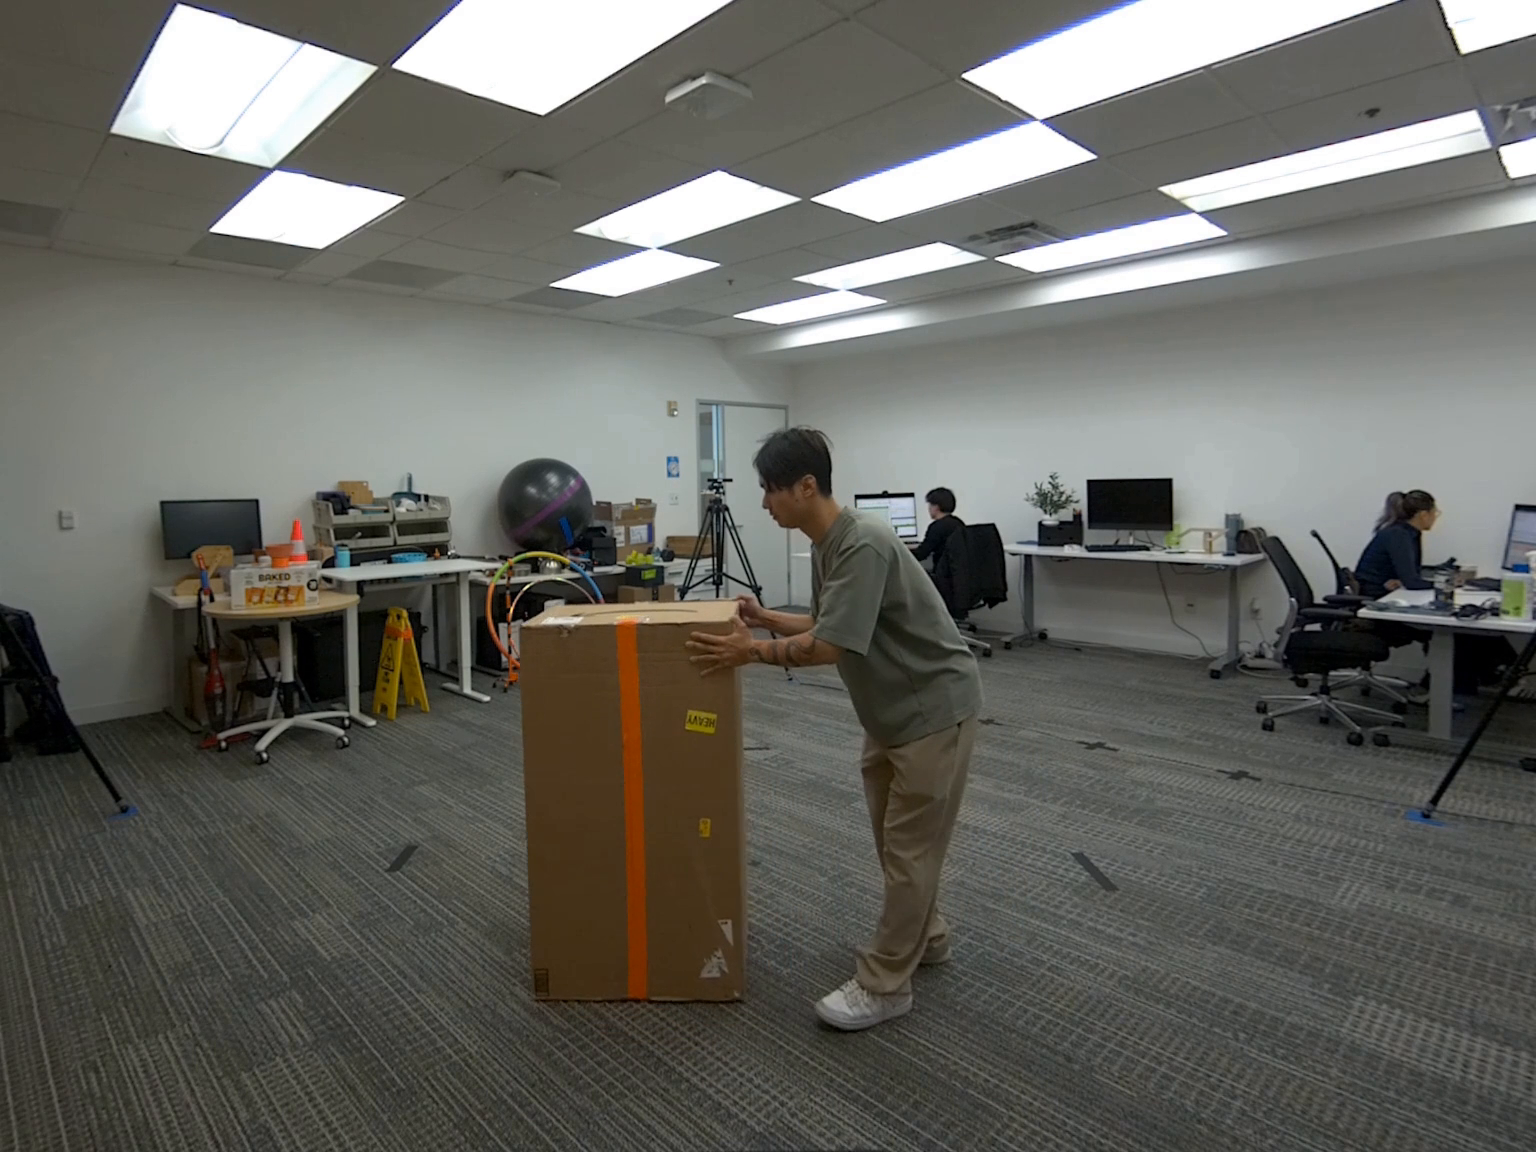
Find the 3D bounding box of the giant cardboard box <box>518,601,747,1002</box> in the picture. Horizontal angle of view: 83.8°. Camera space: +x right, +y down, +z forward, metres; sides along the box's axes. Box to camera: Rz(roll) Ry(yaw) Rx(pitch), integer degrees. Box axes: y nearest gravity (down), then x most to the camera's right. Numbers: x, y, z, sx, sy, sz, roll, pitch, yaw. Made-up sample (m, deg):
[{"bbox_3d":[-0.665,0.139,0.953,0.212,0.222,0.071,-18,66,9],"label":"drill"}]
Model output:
[{"bbox_3d":[-0.362,0.611,2.481,0.579,1.023,0.426,-1,3,2],"label":"giant cardboard box"}]
